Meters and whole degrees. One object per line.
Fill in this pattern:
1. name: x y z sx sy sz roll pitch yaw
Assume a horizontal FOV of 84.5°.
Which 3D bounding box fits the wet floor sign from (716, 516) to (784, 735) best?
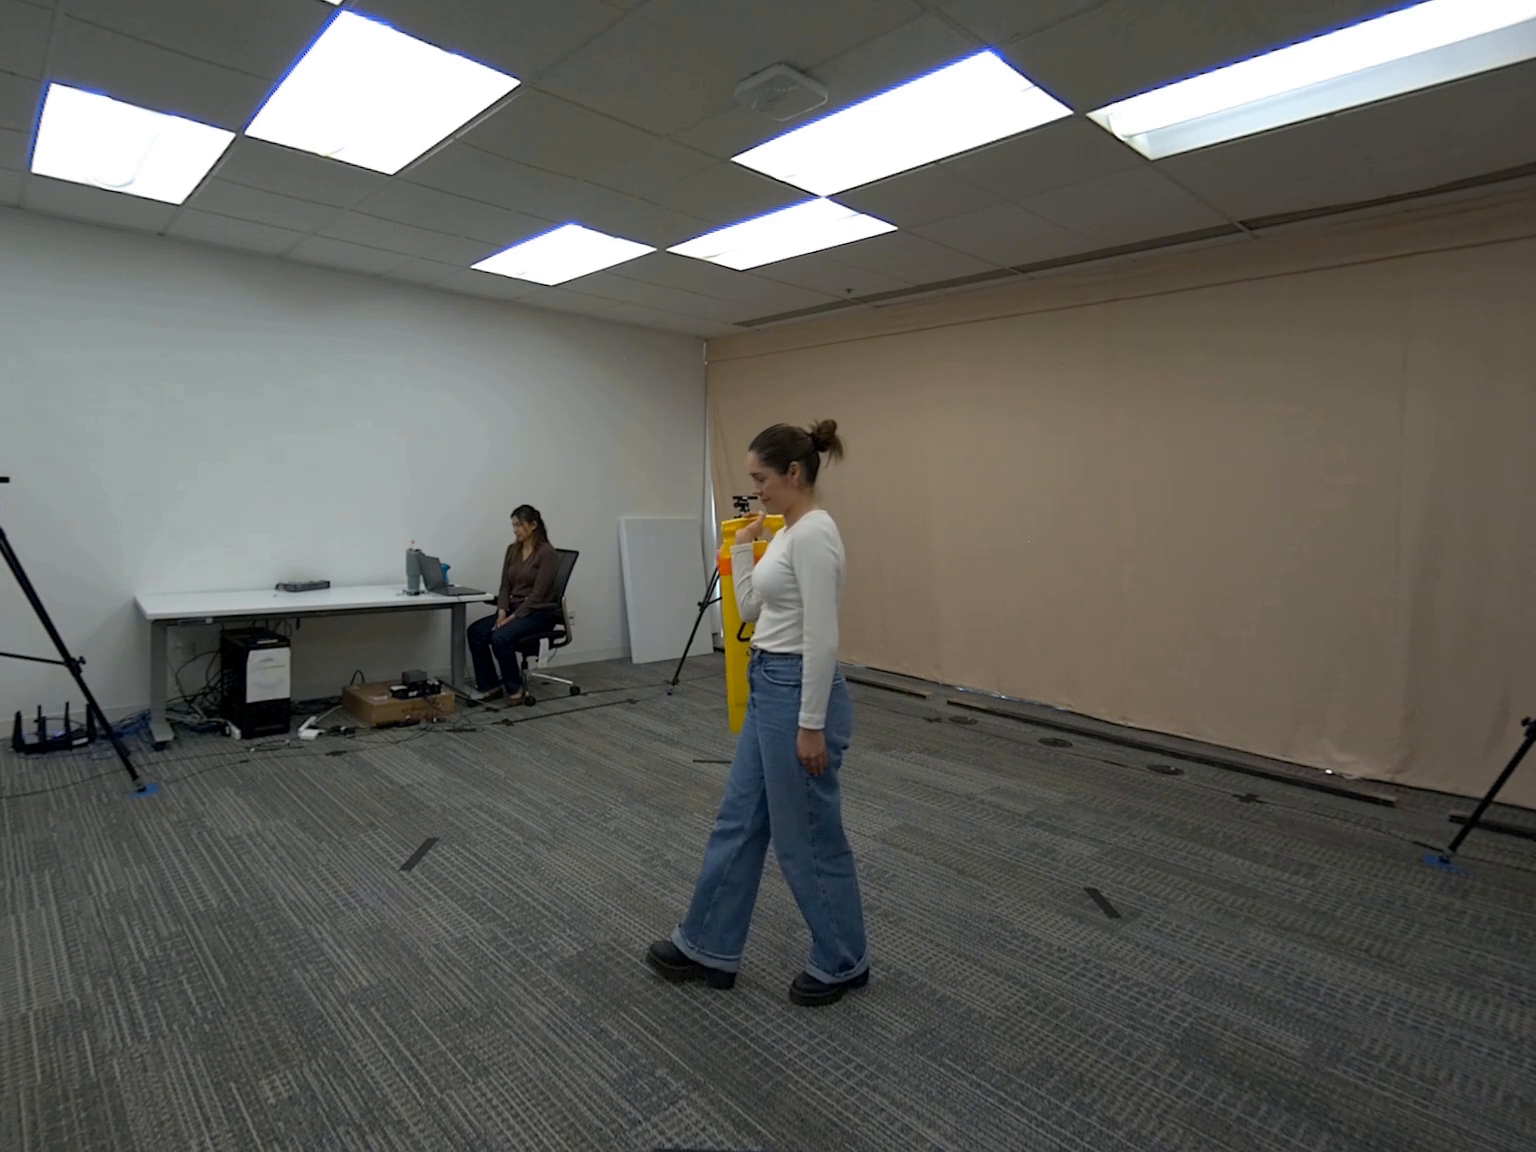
1. wet floor sign: -0.030 0.129 2.668 0.282 0.639 0.292 -5 13 1
